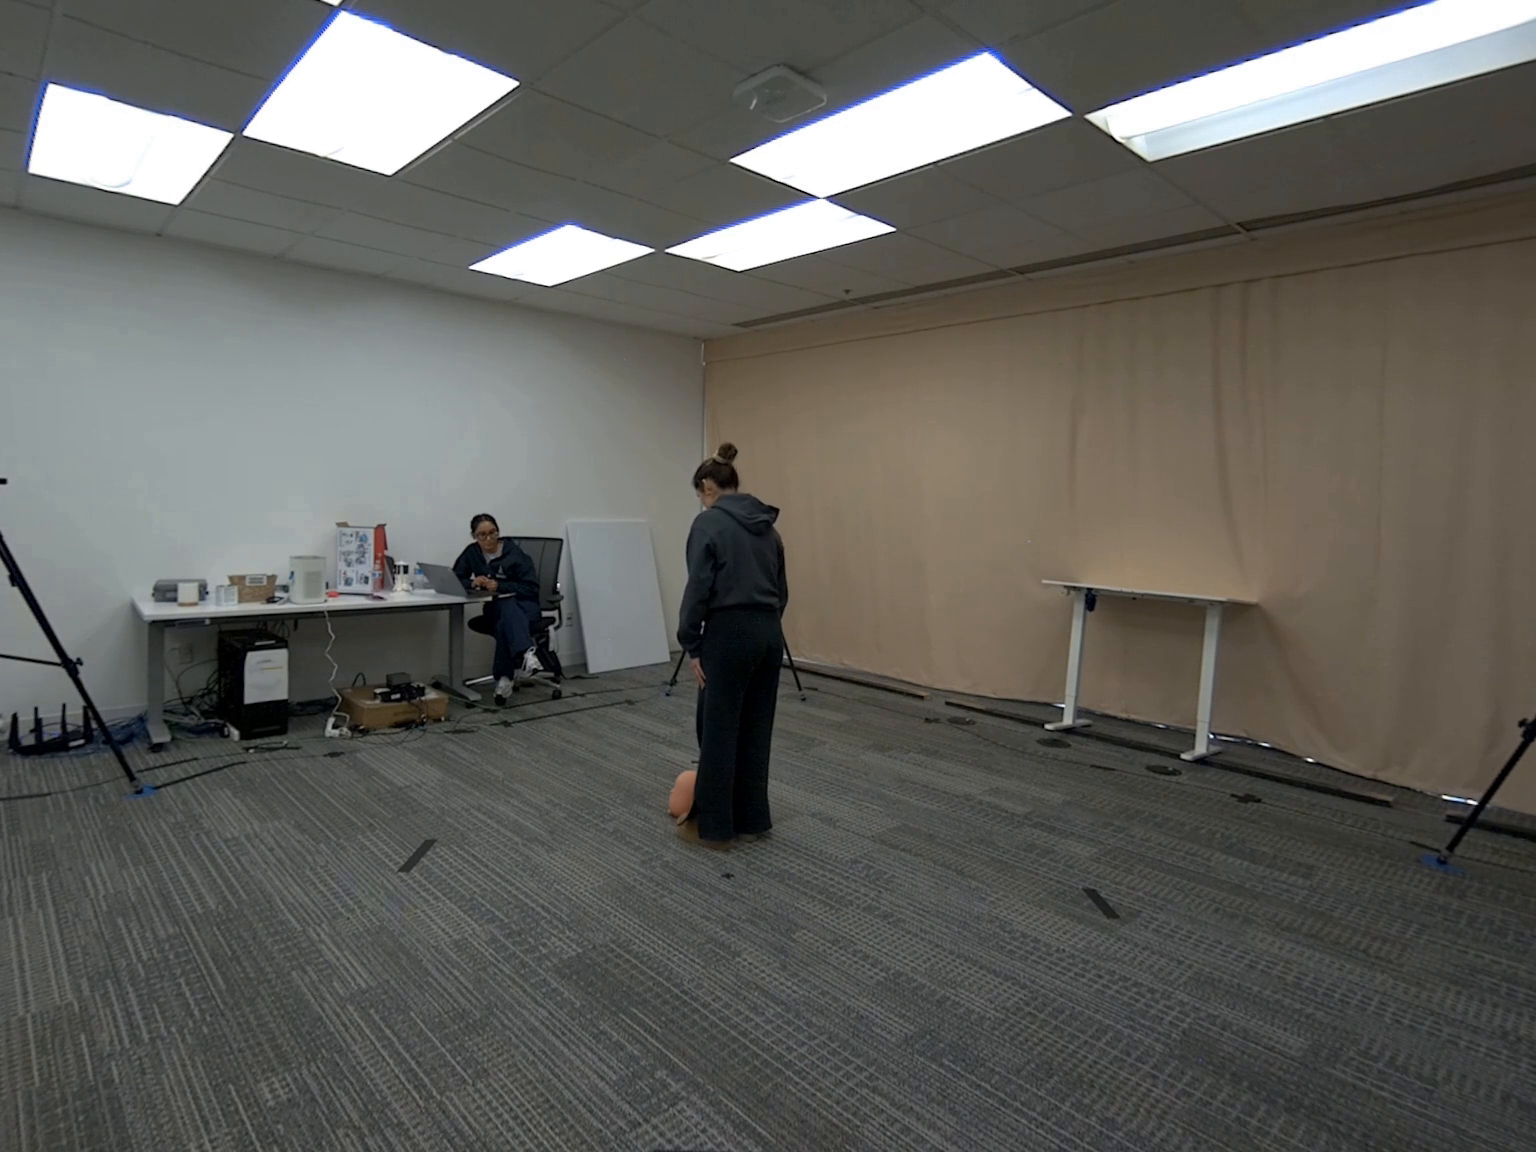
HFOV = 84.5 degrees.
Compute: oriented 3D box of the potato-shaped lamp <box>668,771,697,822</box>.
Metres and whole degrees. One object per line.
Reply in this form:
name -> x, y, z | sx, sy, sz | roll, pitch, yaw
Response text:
potato-shaped lamp -> -0.363, 0.947, 3.695 | 0.175, 0.197, 0.161 | 5, 6, 35
